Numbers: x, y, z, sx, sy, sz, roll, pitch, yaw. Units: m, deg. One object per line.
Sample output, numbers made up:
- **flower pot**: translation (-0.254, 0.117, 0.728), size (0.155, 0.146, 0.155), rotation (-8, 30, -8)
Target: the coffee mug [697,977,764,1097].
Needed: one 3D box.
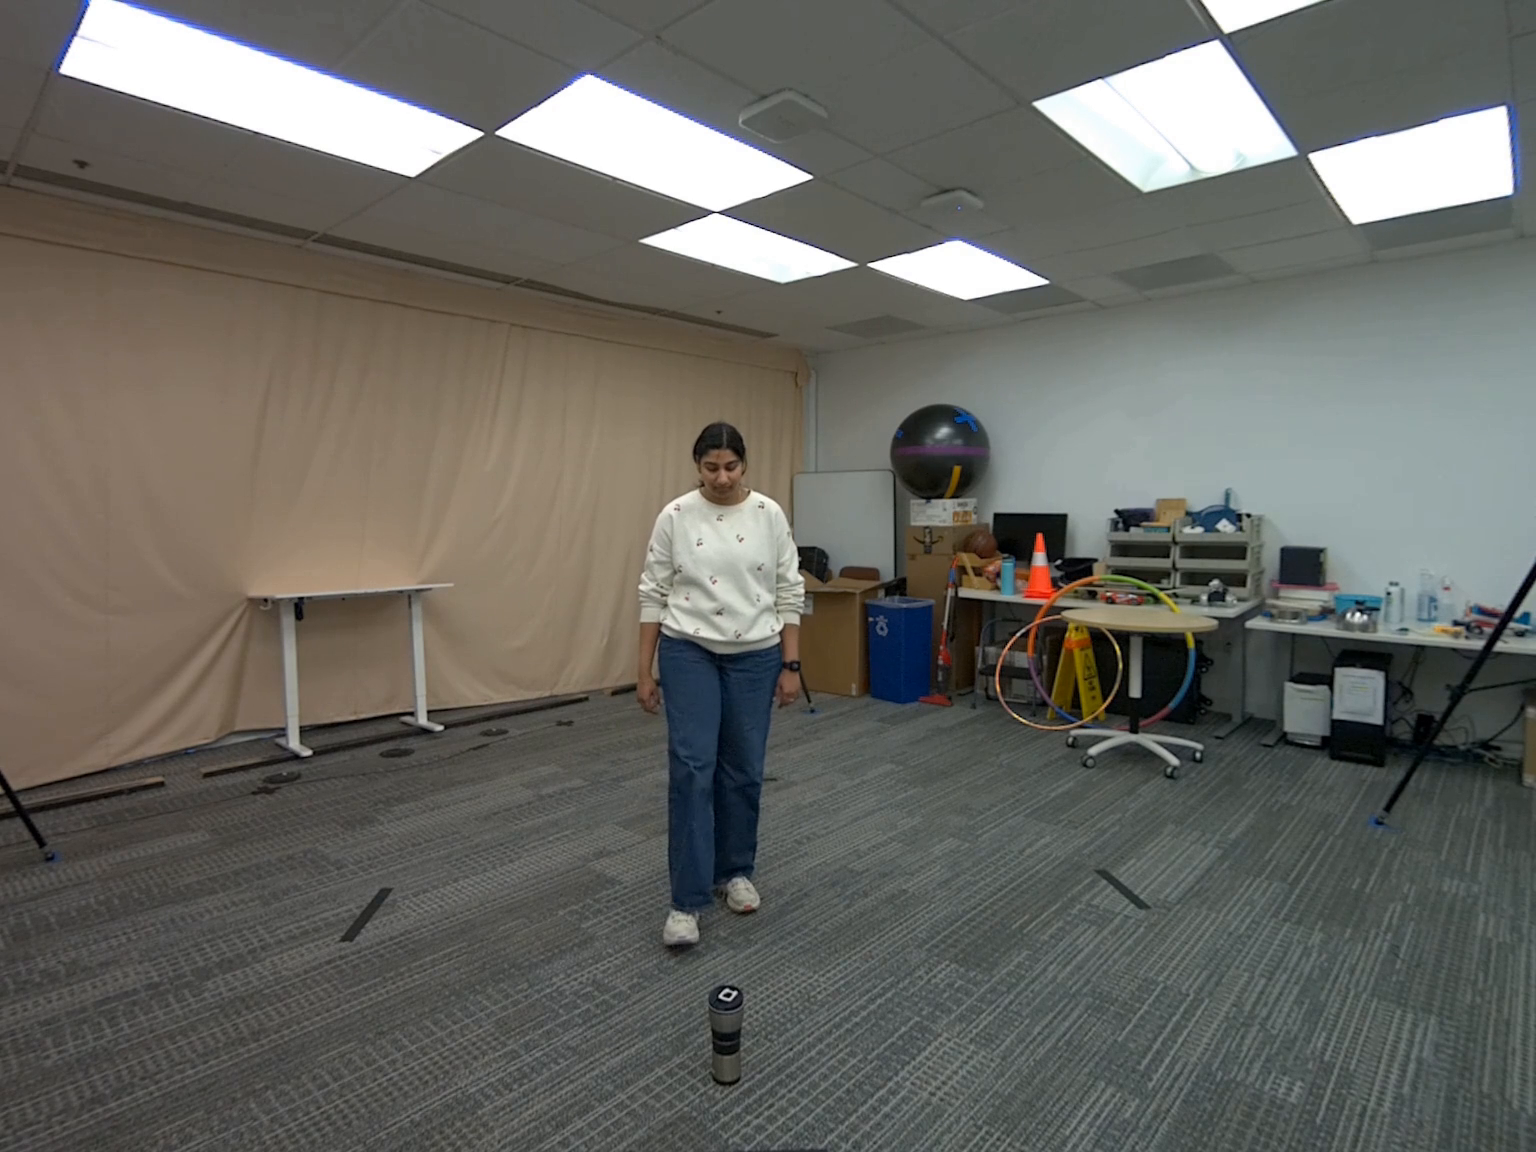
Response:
- **coffee mug**: translation (-0.091, 1.117, 2.063), size (0.091, 0.202, 0.118), rotation (-2, 4, 41)
